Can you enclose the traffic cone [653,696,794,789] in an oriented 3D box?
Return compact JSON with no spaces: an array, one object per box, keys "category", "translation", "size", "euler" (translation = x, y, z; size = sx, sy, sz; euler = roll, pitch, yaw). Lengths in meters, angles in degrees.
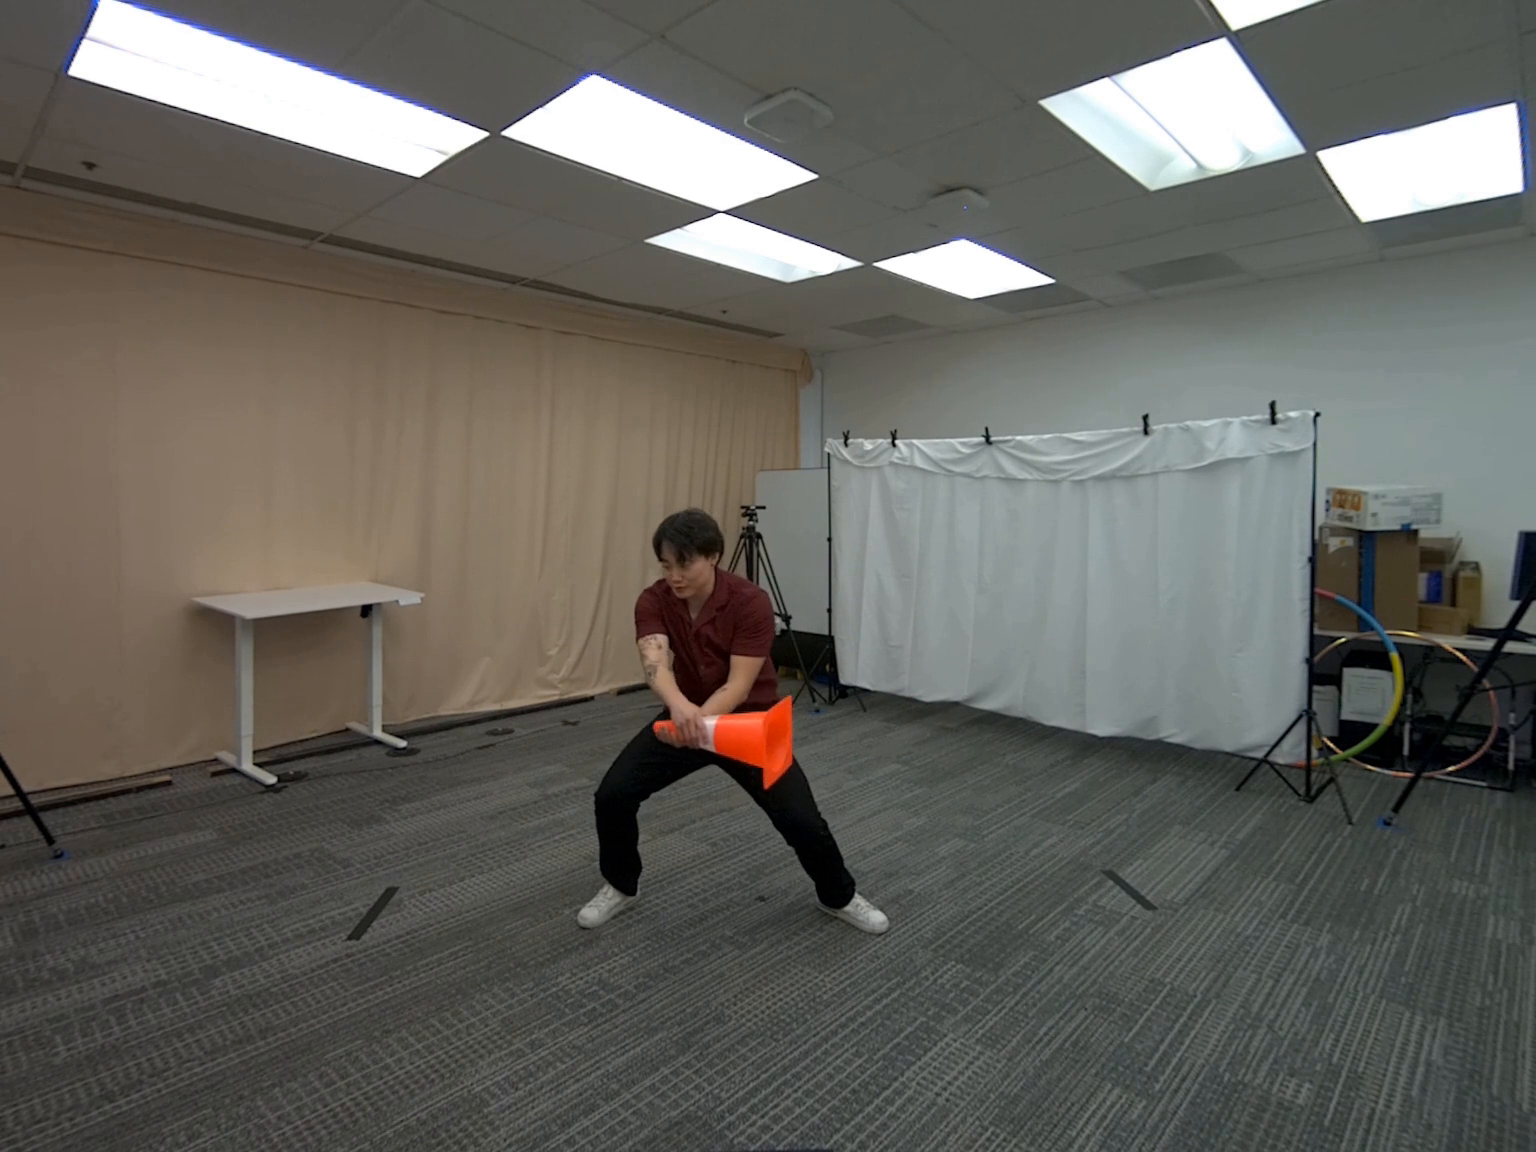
[{"category":"traffic cone","translation":[-0.140,0.438,2.327],"size":[0.393,0.202,0.201],"euler":[0,7,25]}]
